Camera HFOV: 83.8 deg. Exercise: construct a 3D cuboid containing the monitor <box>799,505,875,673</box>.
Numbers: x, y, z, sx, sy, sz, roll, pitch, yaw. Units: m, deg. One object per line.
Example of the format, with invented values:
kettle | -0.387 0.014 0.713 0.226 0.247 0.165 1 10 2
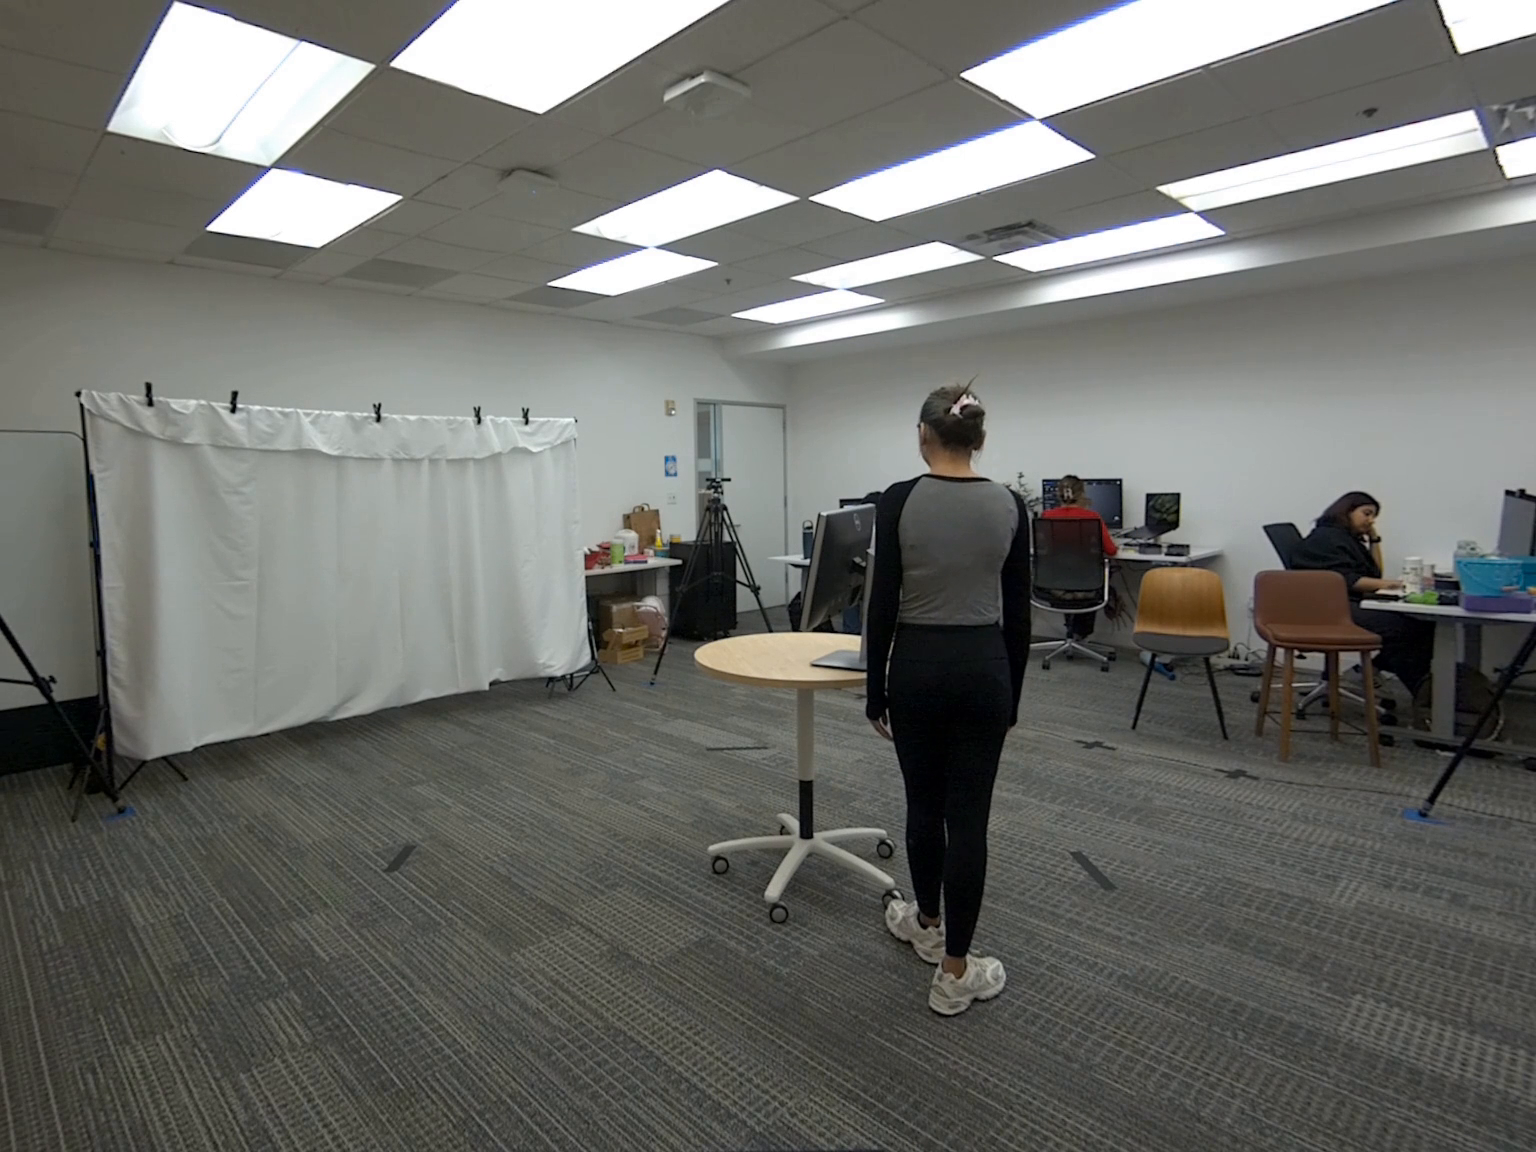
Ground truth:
monitor | 0.278 0.041 2.785 0.191 0.520 0.530 -2 5 23
